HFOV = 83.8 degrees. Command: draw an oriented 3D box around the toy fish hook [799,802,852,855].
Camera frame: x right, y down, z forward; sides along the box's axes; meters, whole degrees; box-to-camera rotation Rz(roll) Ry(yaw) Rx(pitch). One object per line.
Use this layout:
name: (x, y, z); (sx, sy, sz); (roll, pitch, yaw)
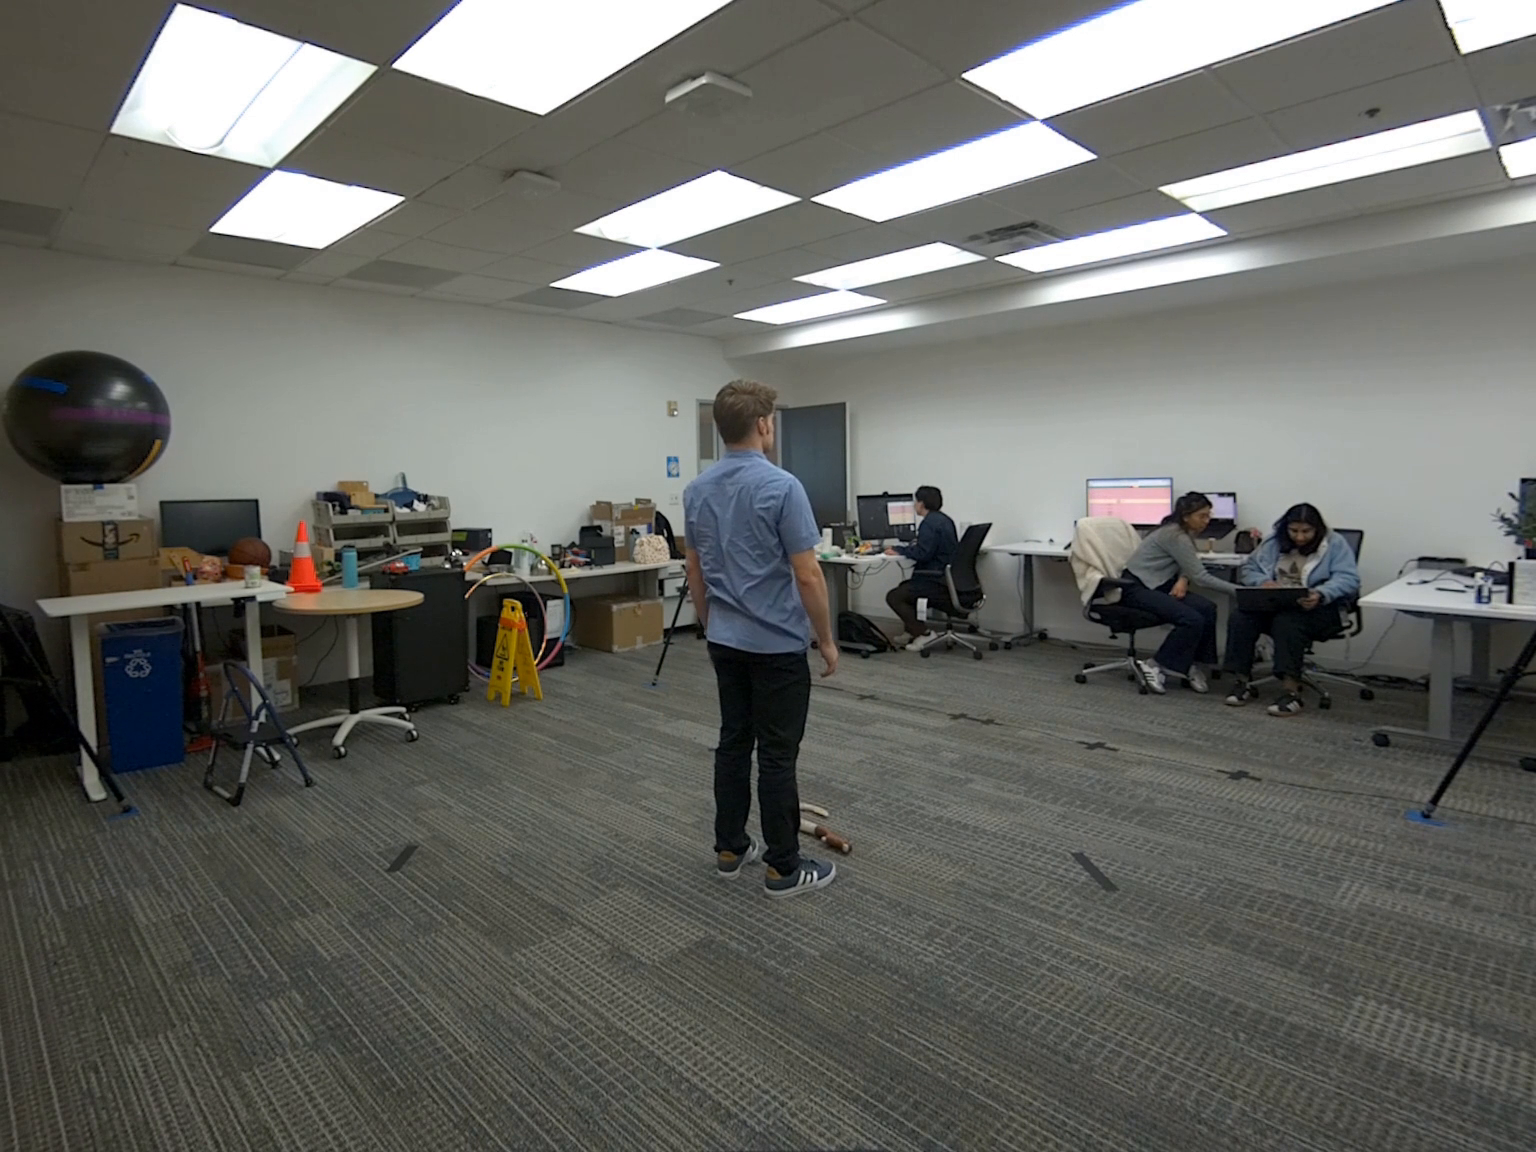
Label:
toy fish hook: (0.200, 0.985, 3.400); (0.219, 0.048, 0.521); (-7, 9, -32)
